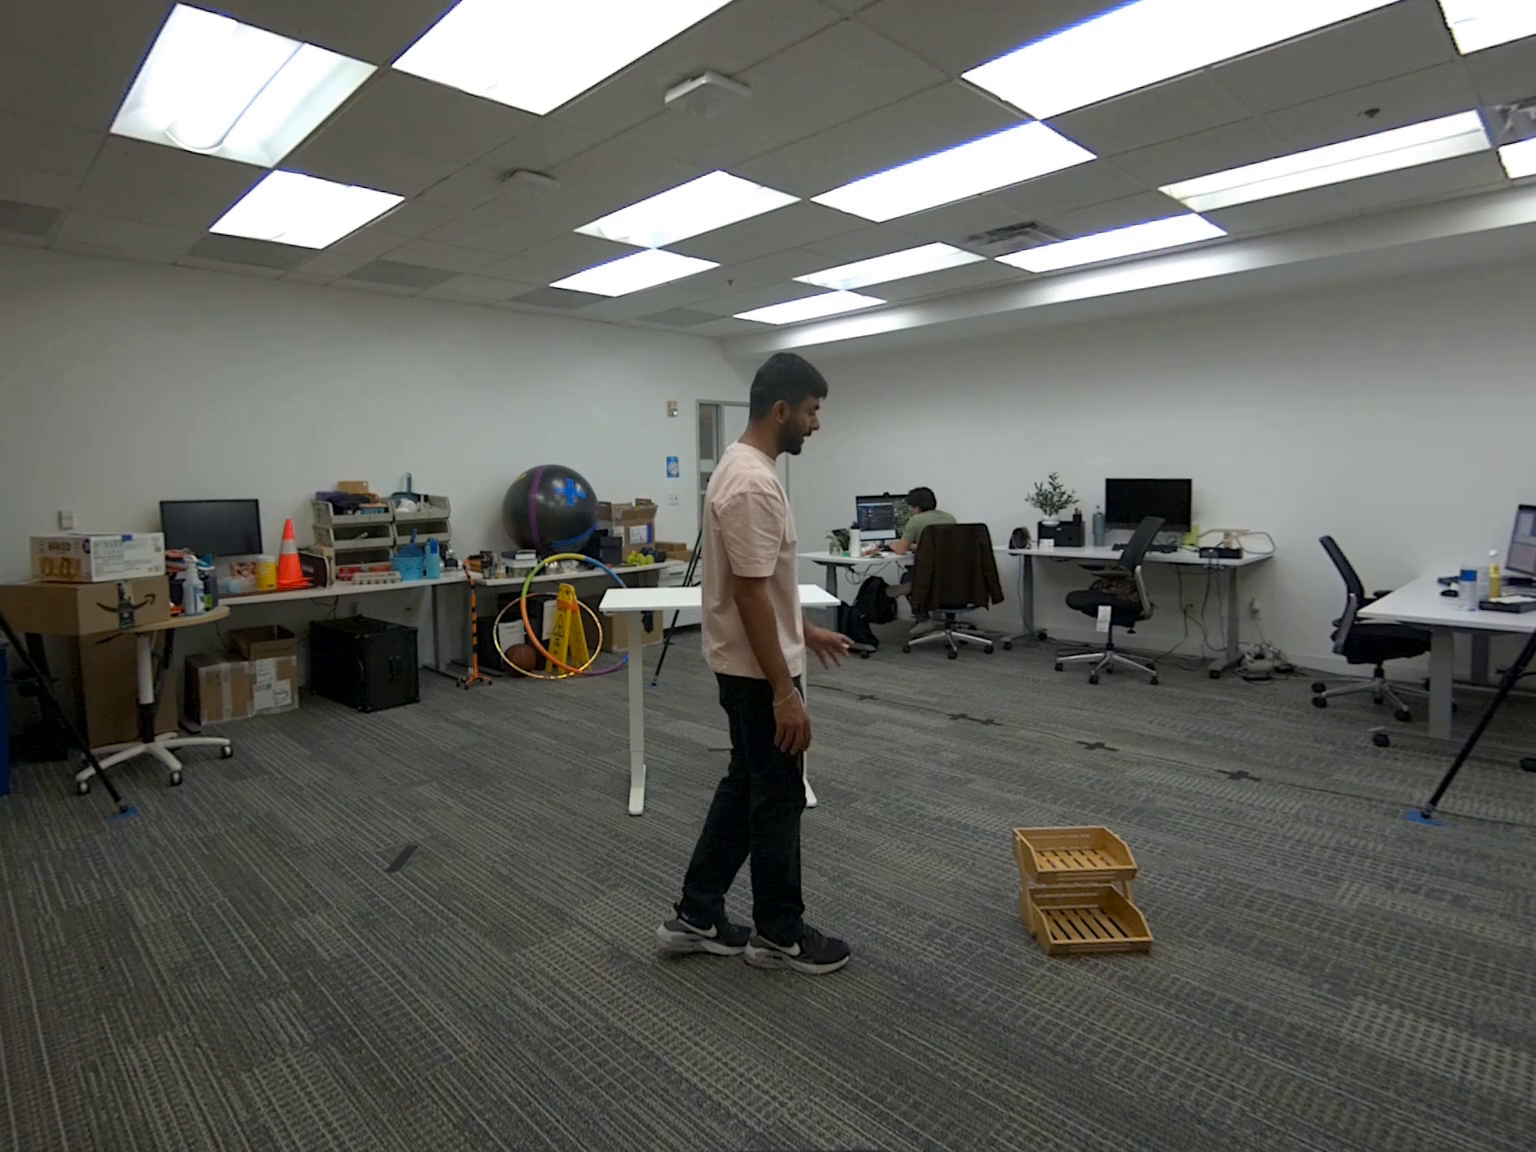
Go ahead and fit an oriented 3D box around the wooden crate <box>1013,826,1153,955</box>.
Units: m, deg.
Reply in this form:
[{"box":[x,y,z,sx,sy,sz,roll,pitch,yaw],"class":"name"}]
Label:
[{"box":[0.961,0.955,2.599,0.323,0.272,0.304,-2,5,-4],"class":"wooden crate"}]
